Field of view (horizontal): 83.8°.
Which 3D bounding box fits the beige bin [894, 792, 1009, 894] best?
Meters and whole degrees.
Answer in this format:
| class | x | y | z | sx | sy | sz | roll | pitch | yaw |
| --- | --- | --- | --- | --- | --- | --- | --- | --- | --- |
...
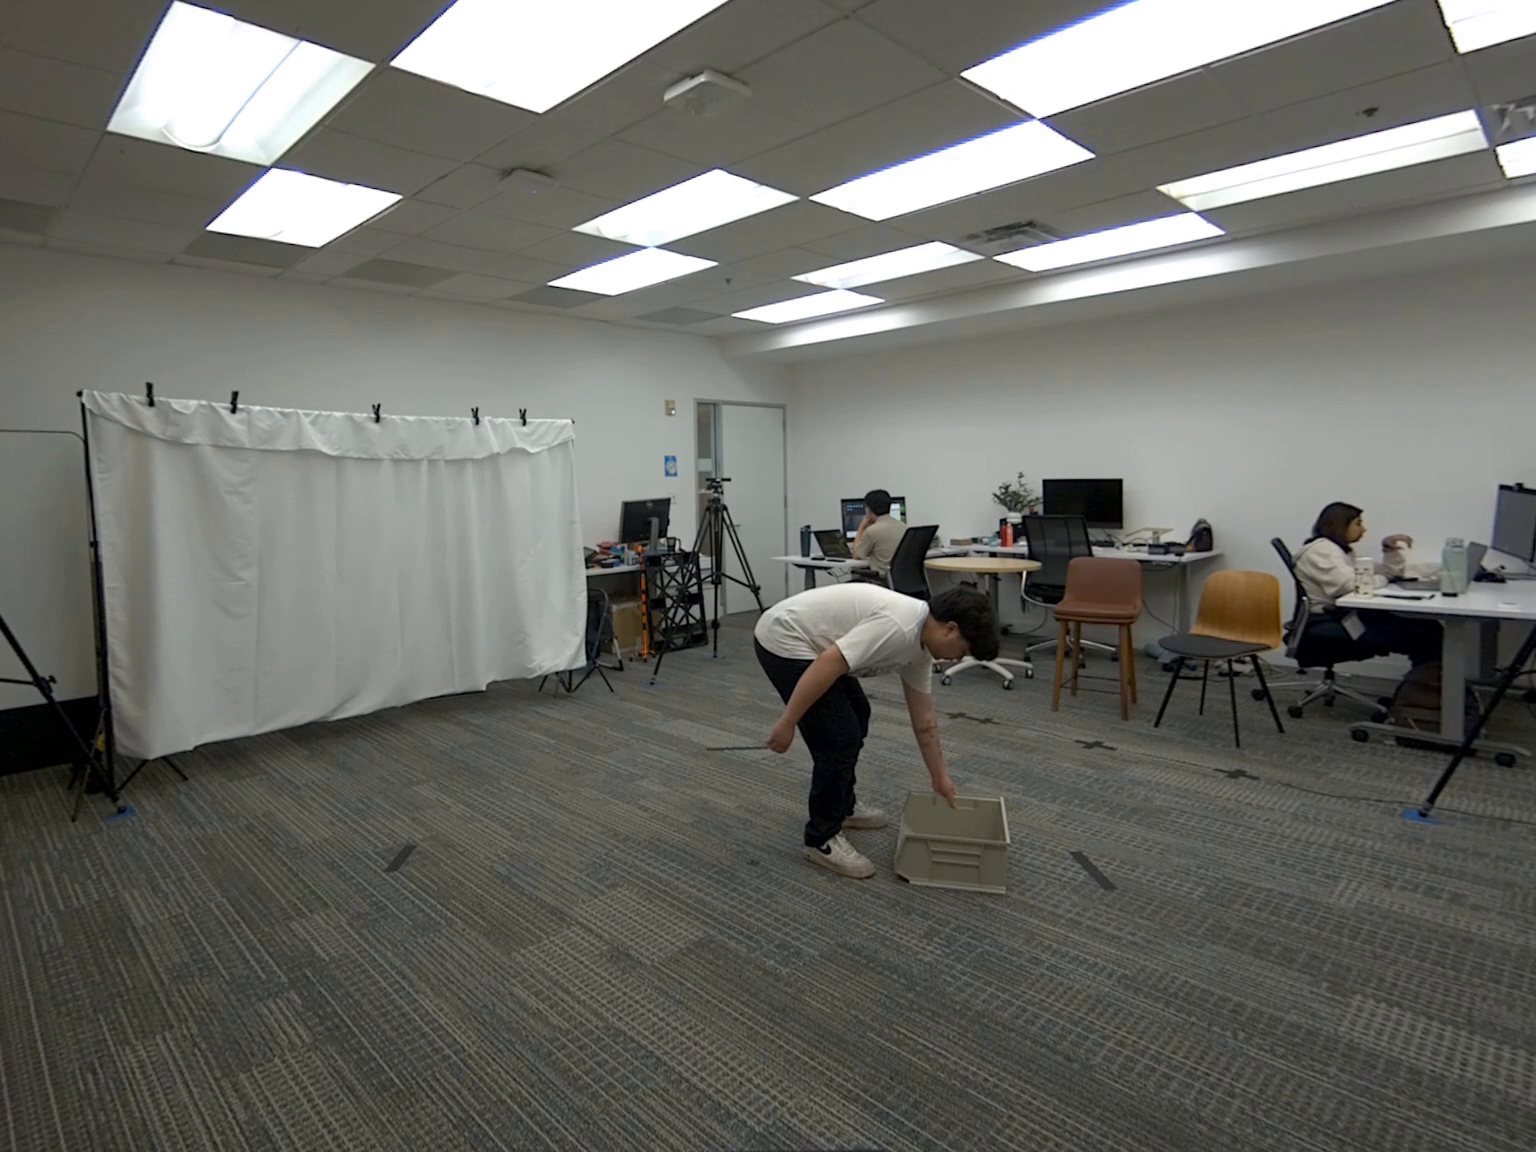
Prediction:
| class | x | y | z | sx | sy | sz | roll | pitch | yaw |
| --- | --- | --- | --- | --- | --- | --- | --- | --- | --- |
| beige bin | 0.661 | 0.944 | 3.074 | 0.383 | 0.188 | 0.418 | 1 | 6 | 13 |
